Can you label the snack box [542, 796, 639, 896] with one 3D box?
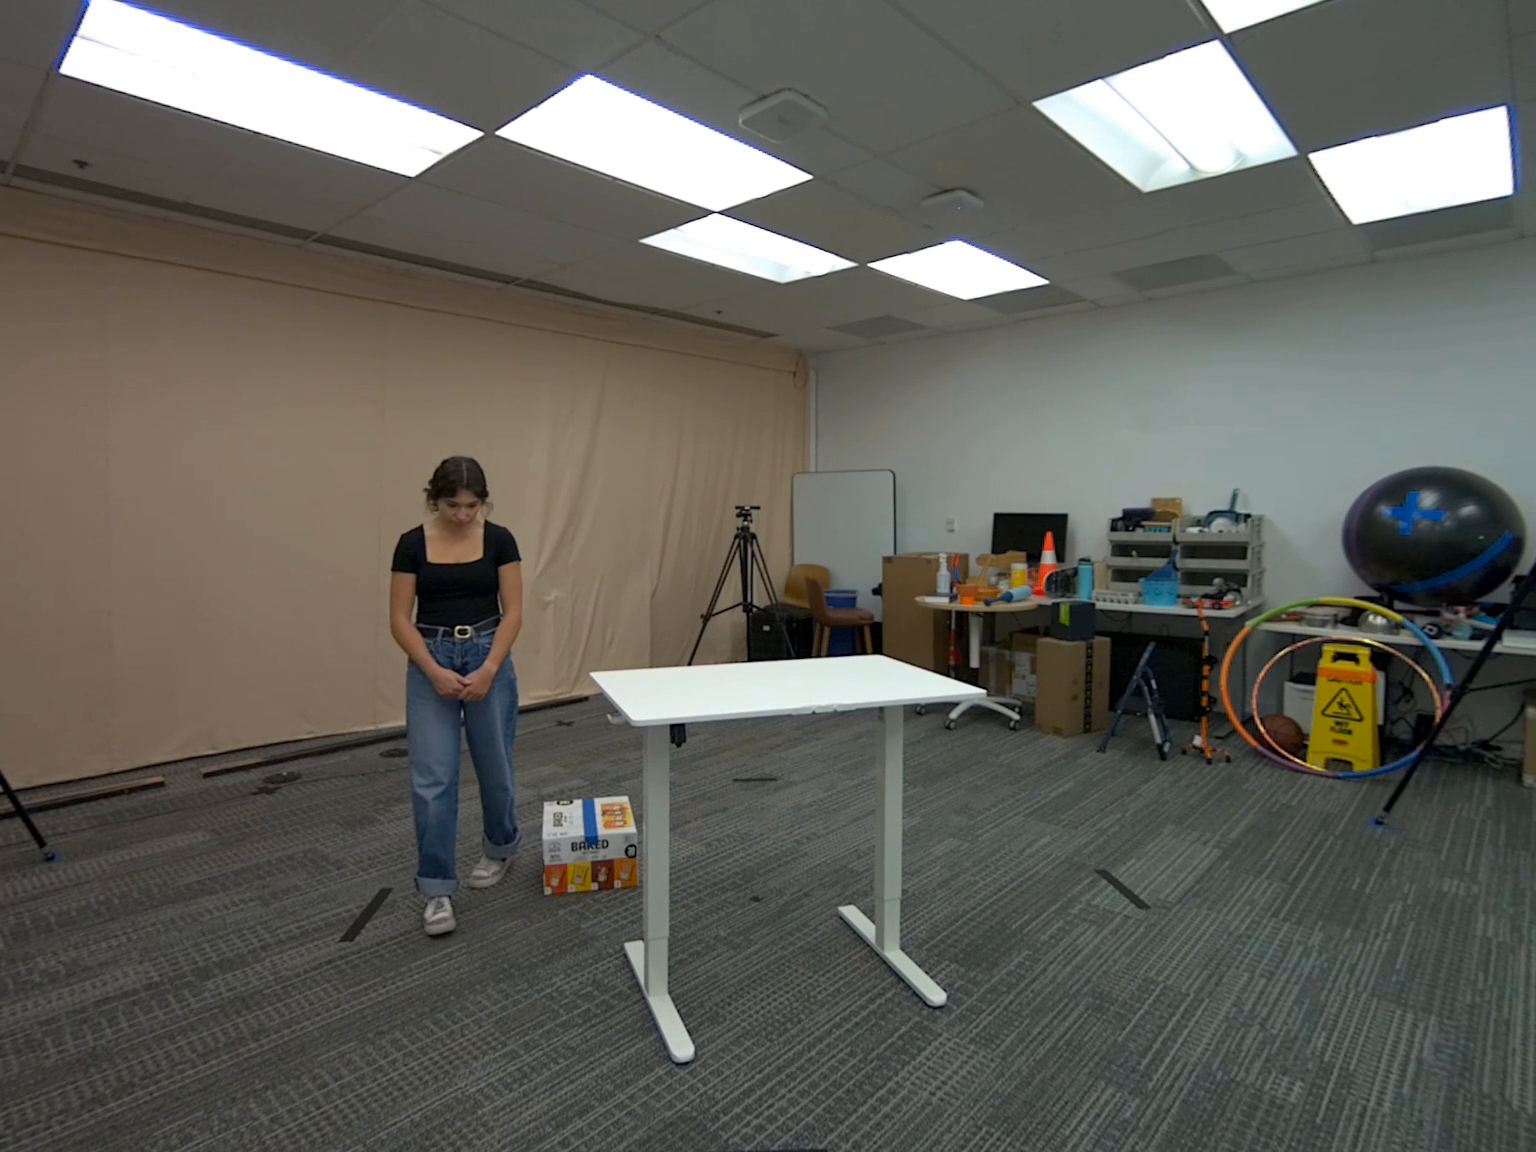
[{"bbox_3d":[-0.695,1.028,3.245,0.336,0.205,0.411,-1,4,-13],"label":"snack box"}]
